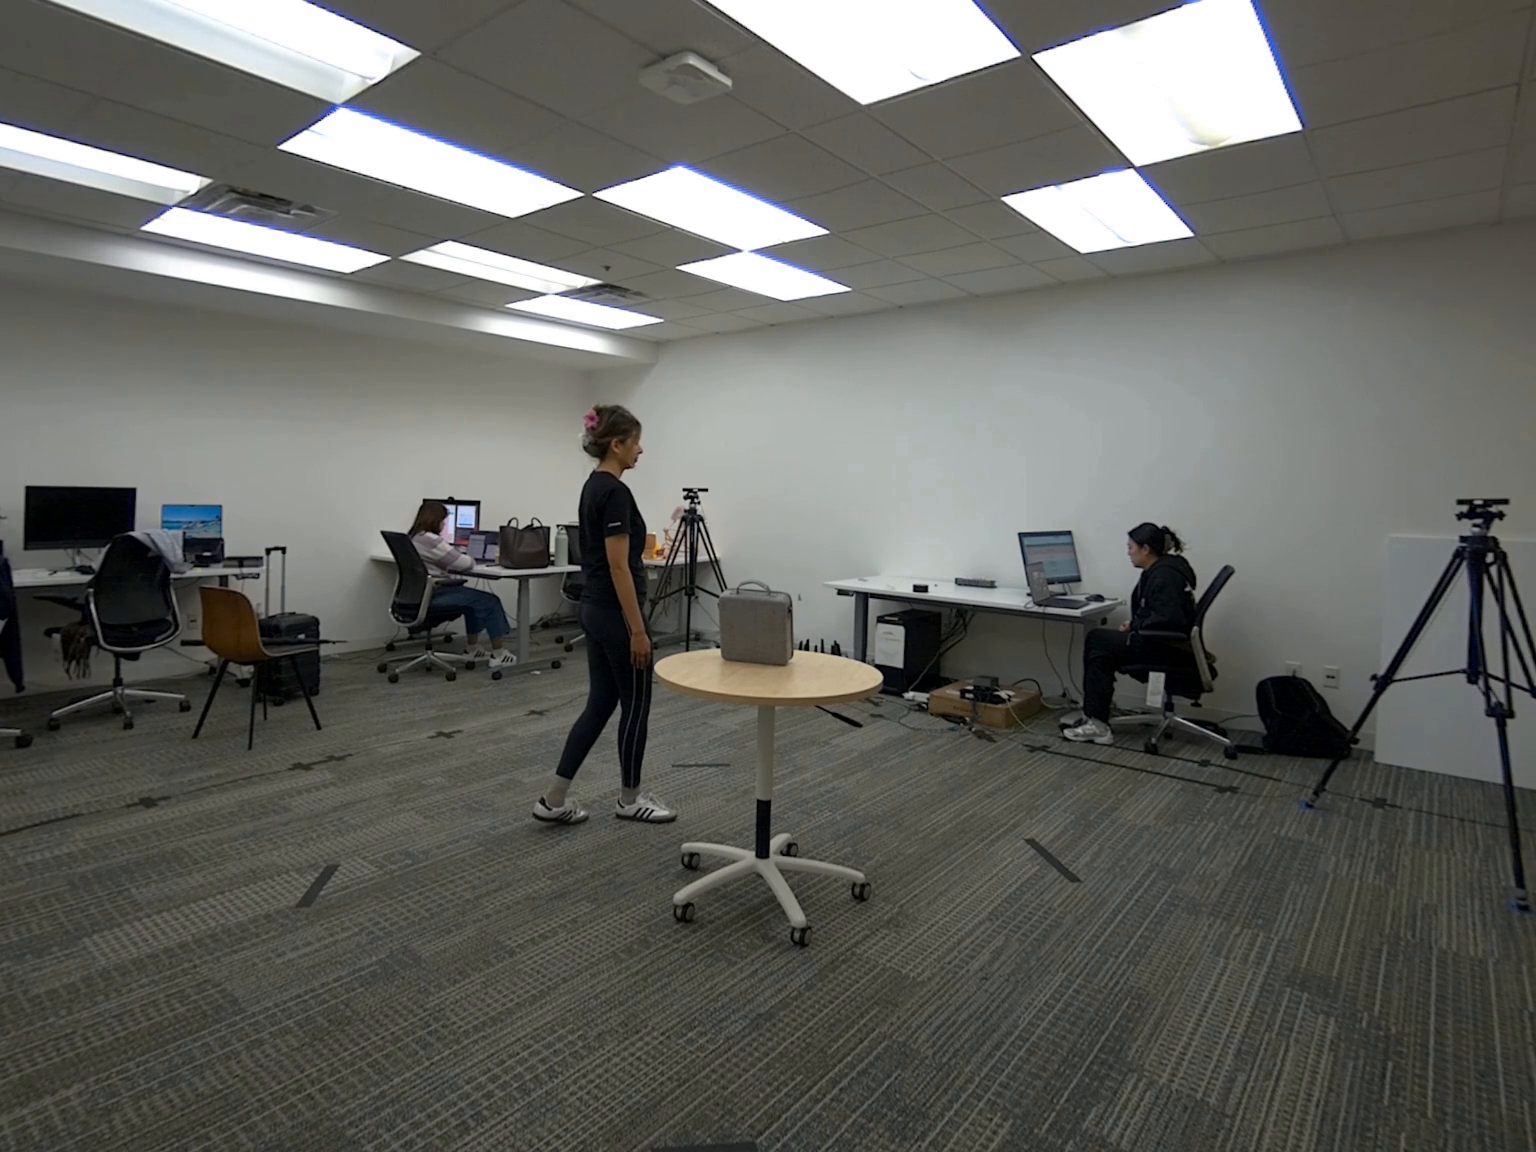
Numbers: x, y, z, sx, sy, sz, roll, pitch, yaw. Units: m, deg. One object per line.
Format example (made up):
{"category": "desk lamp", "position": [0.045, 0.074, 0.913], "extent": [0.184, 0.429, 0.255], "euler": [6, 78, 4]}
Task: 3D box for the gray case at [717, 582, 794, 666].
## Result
{"category": "gray case", "position": [-0.050, 0.169, 2.978], "extent": [0.262, 0.257, 0.103], "euler": [2, 14, 19]}
